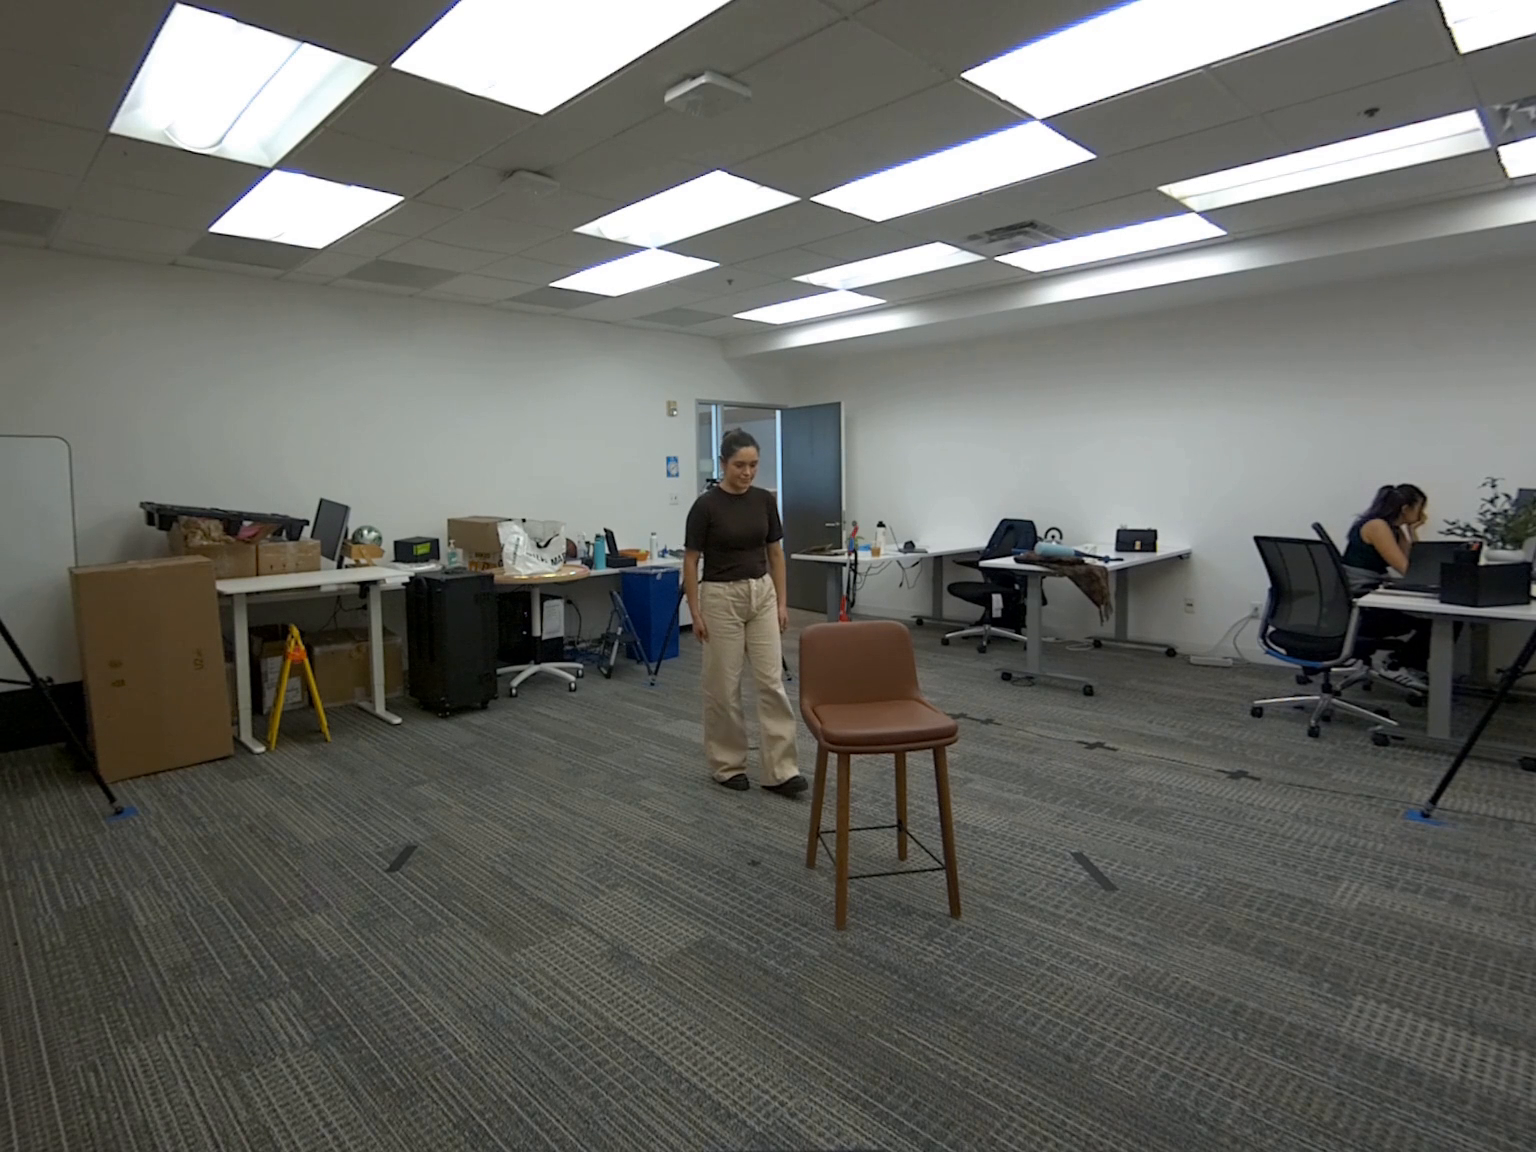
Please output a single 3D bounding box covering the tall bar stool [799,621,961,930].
[{"bbox_3d":[0.357,0.627,2.869,0.452,0.888,0.473,-1,2,-10],"label":"tall bar stool"}]
